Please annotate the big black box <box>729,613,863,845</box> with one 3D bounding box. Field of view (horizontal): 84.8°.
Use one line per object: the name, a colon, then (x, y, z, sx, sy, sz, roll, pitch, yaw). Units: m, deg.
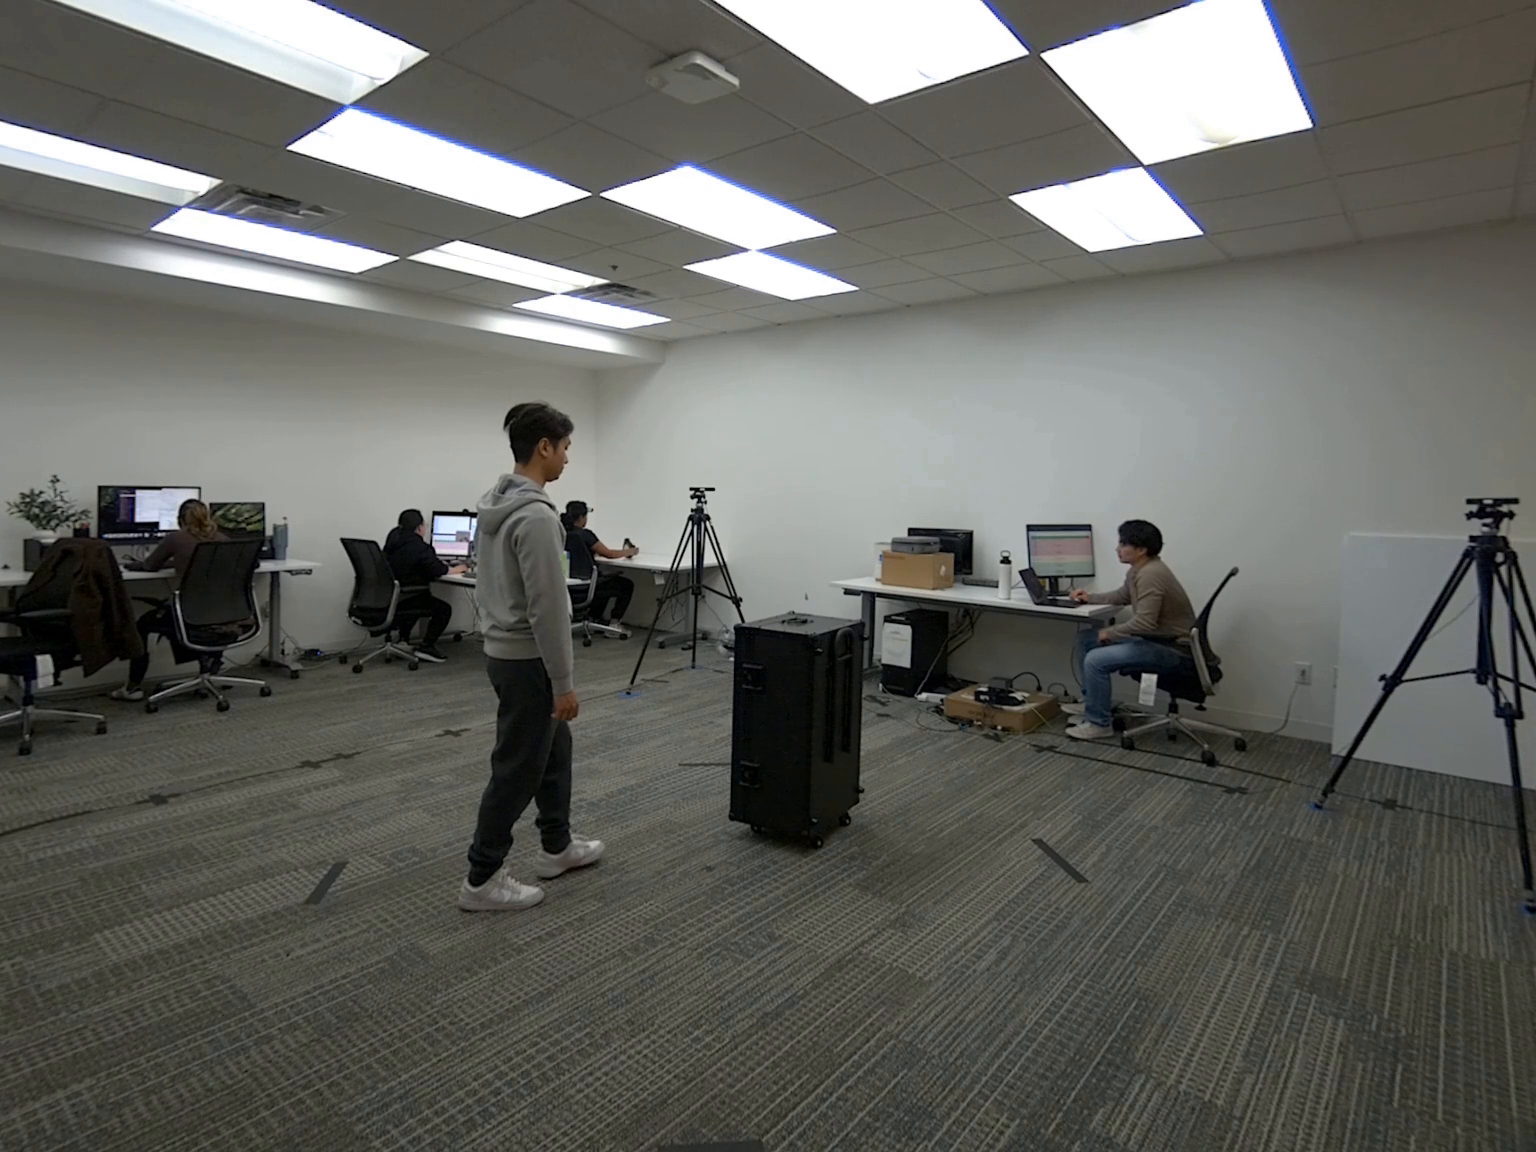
big black box: (0.129, 0.612, 3.483, 0.408, 0.859, 0.507, 4, 4, 30)
